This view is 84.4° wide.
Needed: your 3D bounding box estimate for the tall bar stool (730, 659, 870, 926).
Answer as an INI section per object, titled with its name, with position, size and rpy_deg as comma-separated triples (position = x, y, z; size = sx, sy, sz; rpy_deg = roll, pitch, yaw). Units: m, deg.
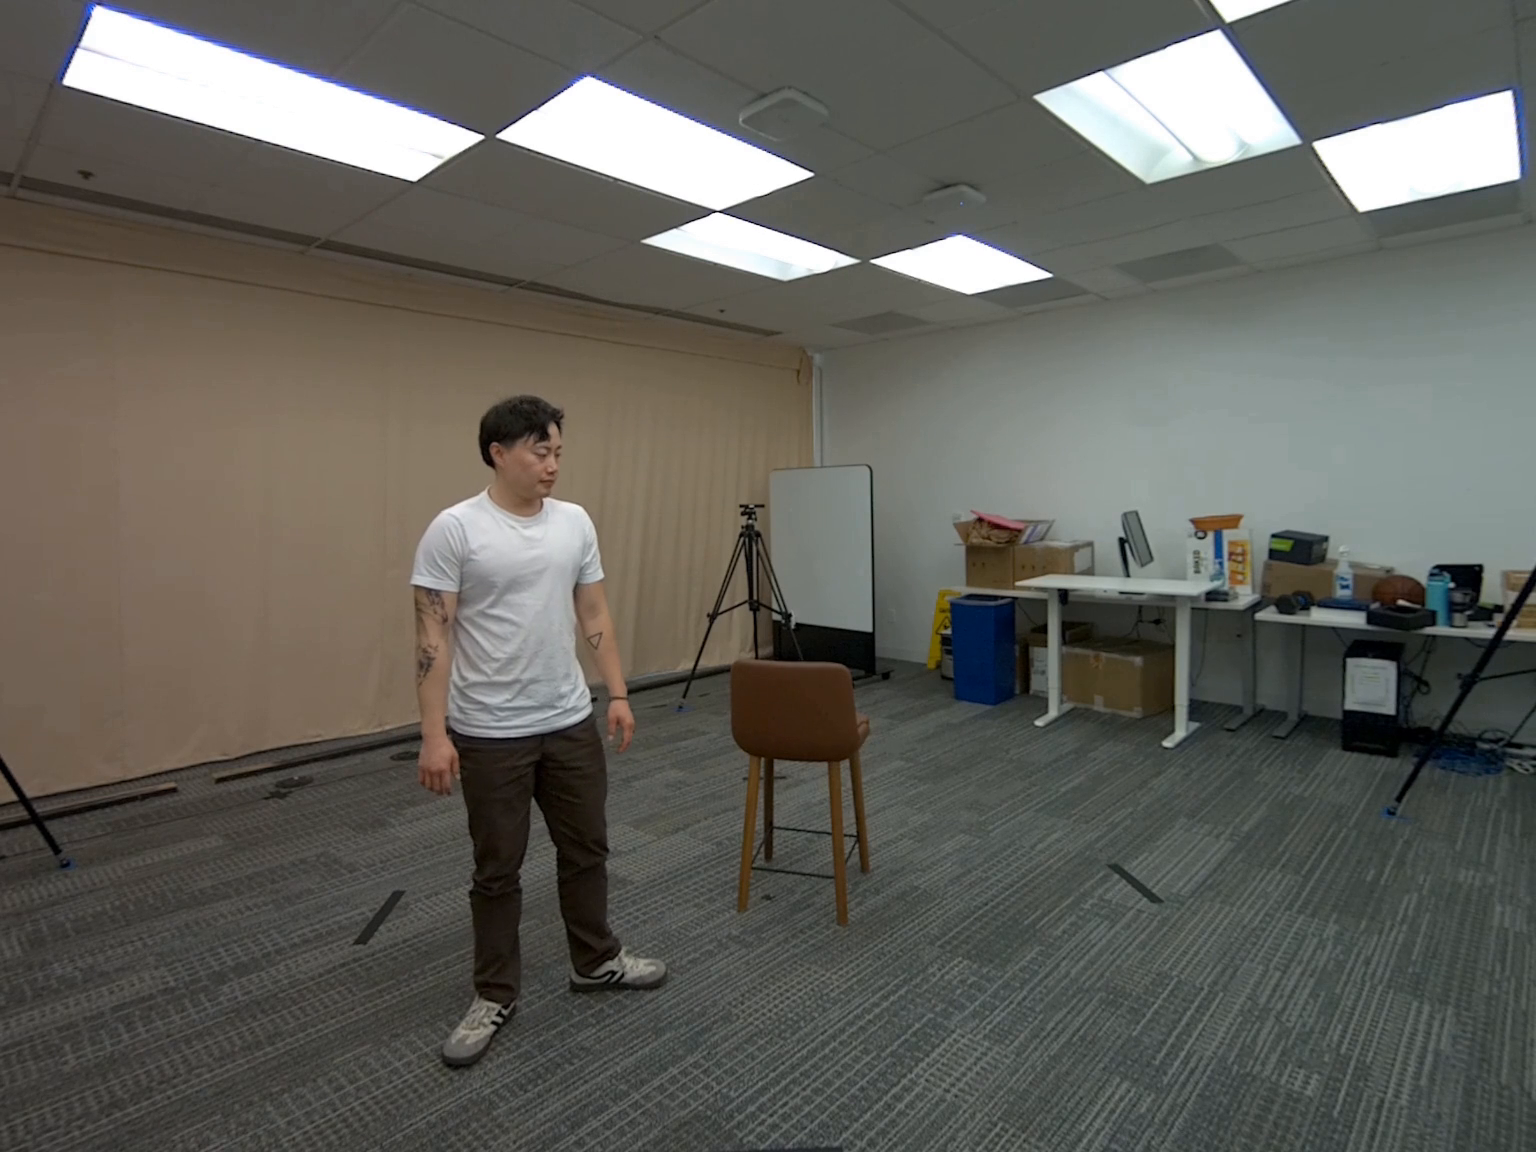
[tall bar stool]
position = 0.127, 0.701, 3.010
size = 0.465, 0.887, 0.460
rpy_deg = 0, 5, 18
